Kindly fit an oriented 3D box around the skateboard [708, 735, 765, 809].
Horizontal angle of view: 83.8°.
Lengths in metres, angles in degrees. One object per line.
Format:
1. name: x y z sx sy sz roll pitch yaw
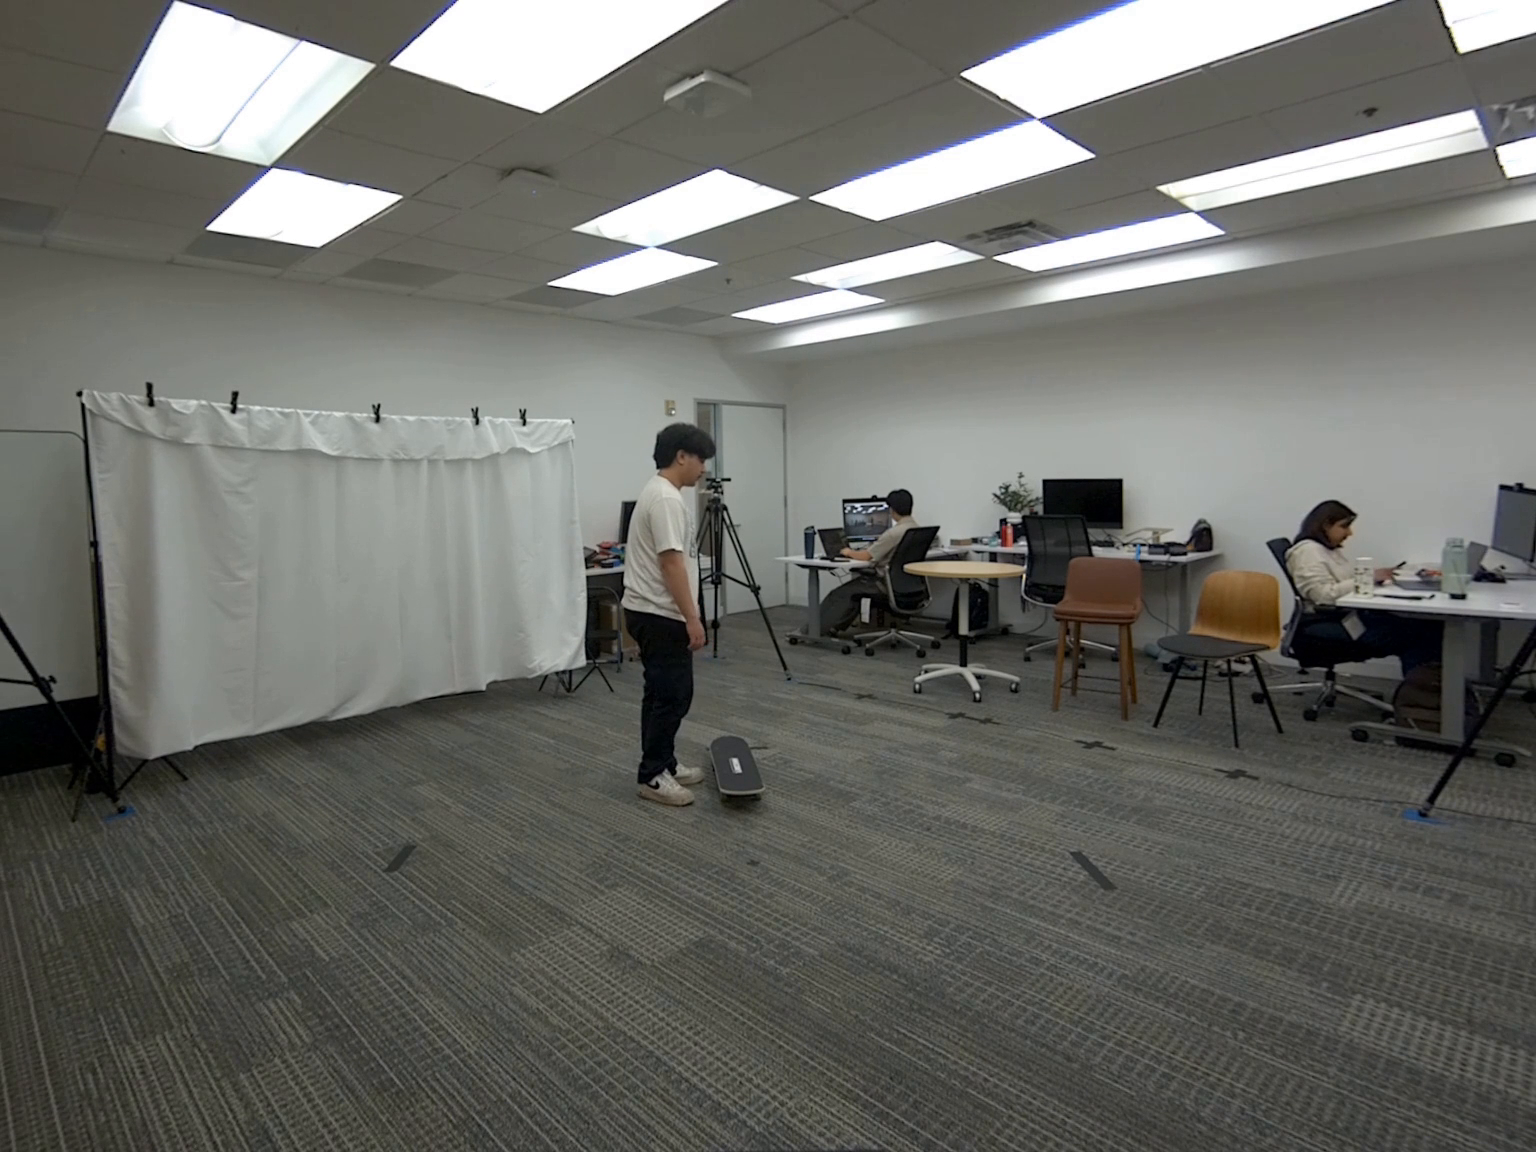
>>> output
1. skateboard: -0.145 0.893 3.901 0.192 0.110 0.794 -2 6 -8
